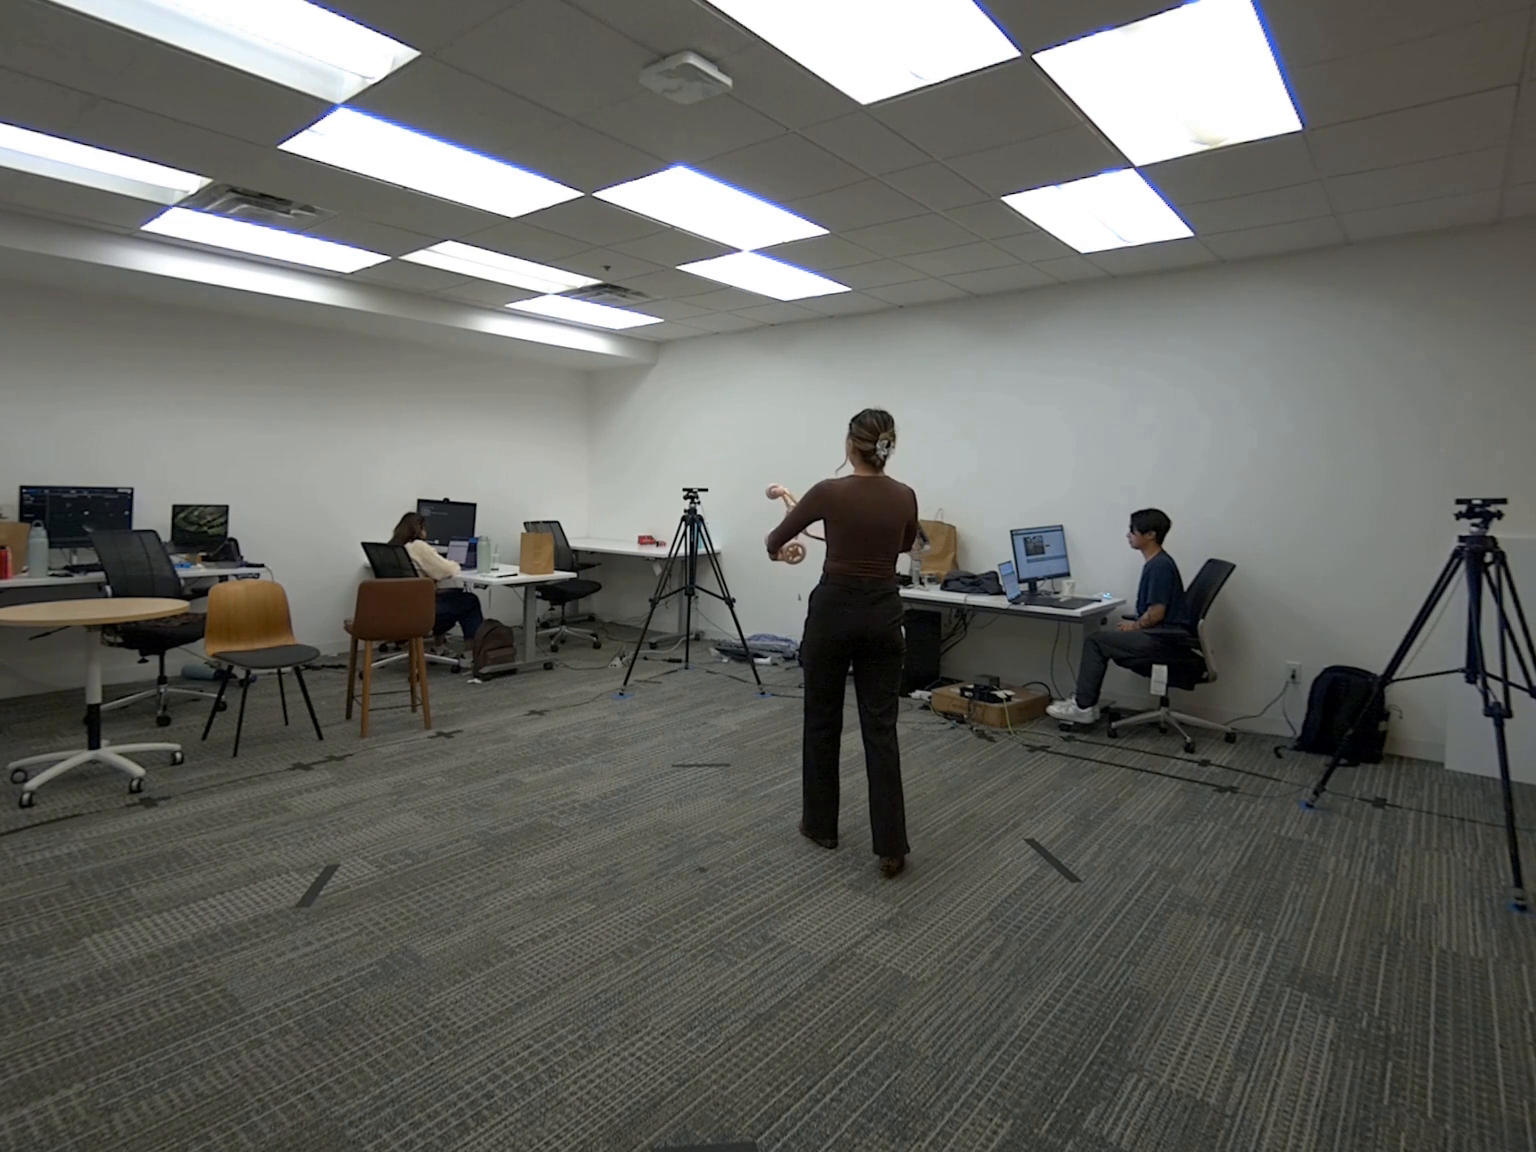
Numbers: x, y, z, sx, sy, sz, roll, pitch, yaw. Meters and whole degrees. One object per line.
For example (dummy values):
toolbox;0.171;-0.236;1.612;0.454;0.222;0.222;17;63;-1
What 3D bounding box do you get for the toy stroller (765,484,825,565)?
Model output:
toy stroller;0.223;-0.237;3.794;0.526;0.339;0.288;2;7;-16
